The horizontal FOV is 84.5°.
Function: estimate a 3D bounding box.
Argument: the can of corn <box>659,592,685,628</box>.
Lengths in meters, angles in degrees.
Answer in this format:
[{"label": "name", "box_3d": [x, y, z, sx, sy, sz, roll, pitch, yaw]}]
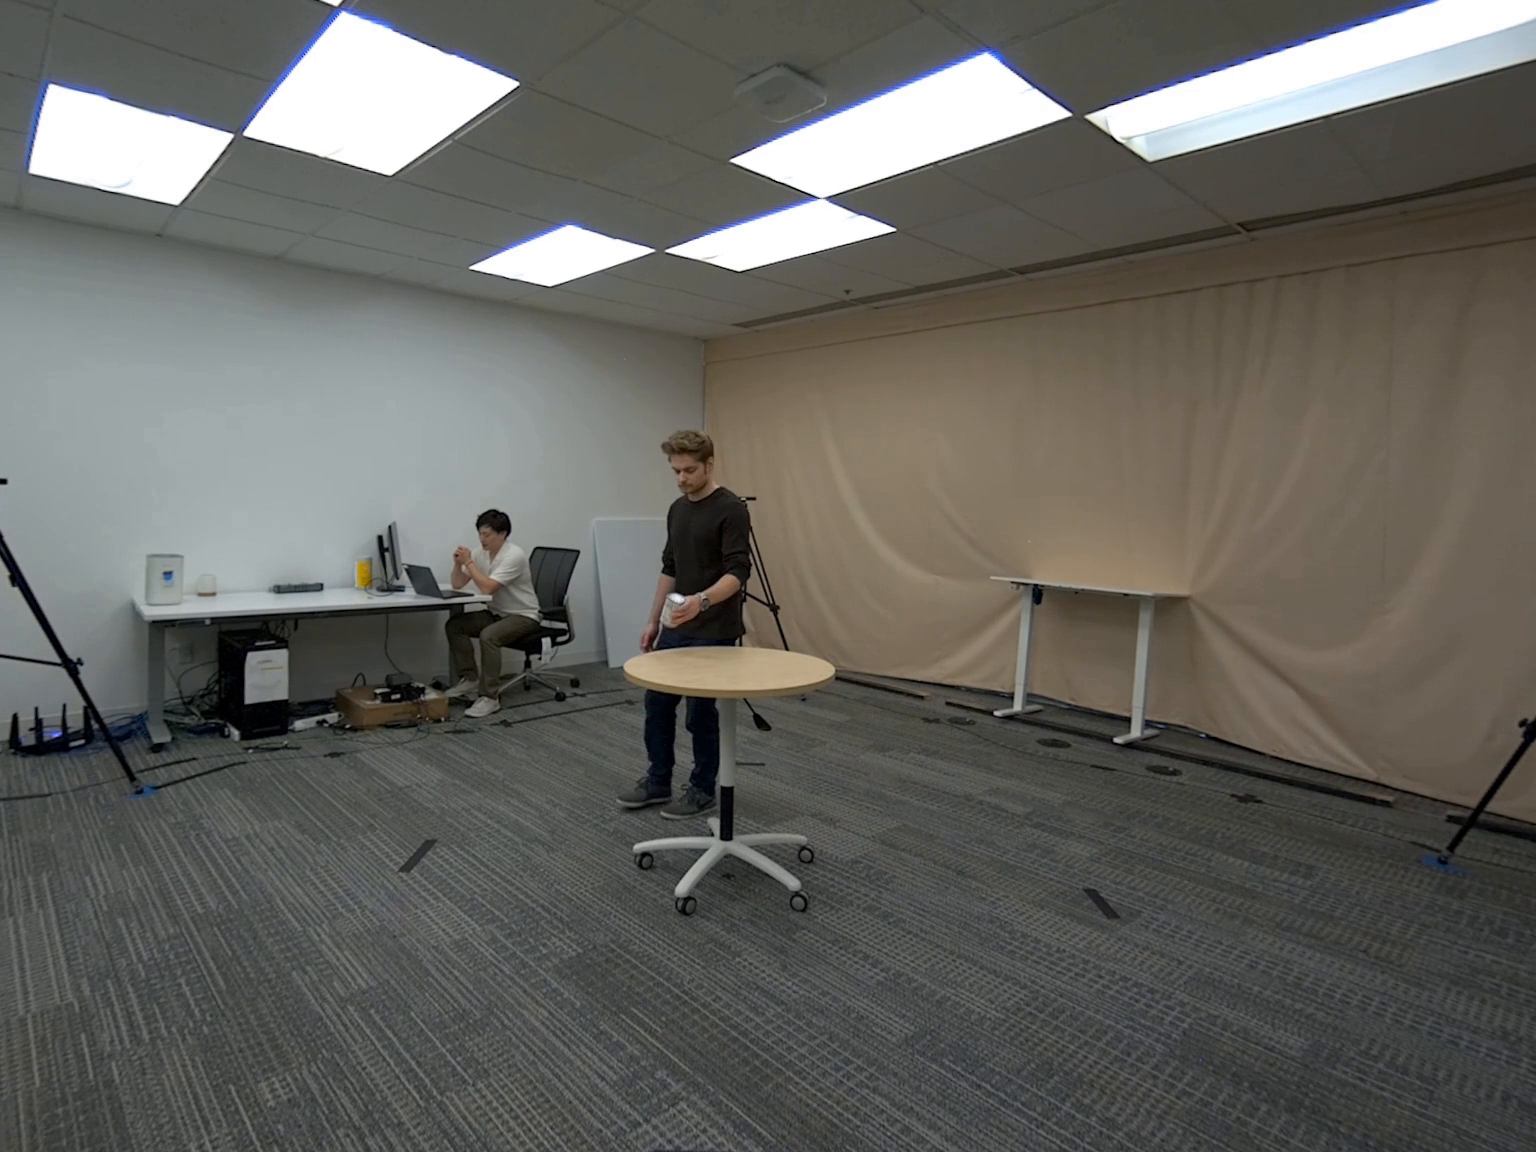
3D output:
[{"label": "can of corn", "box_3d": [-0.369, 0.129, 3.226, 0.074, 0.110, 0.075, 10, 20, -5]}]
